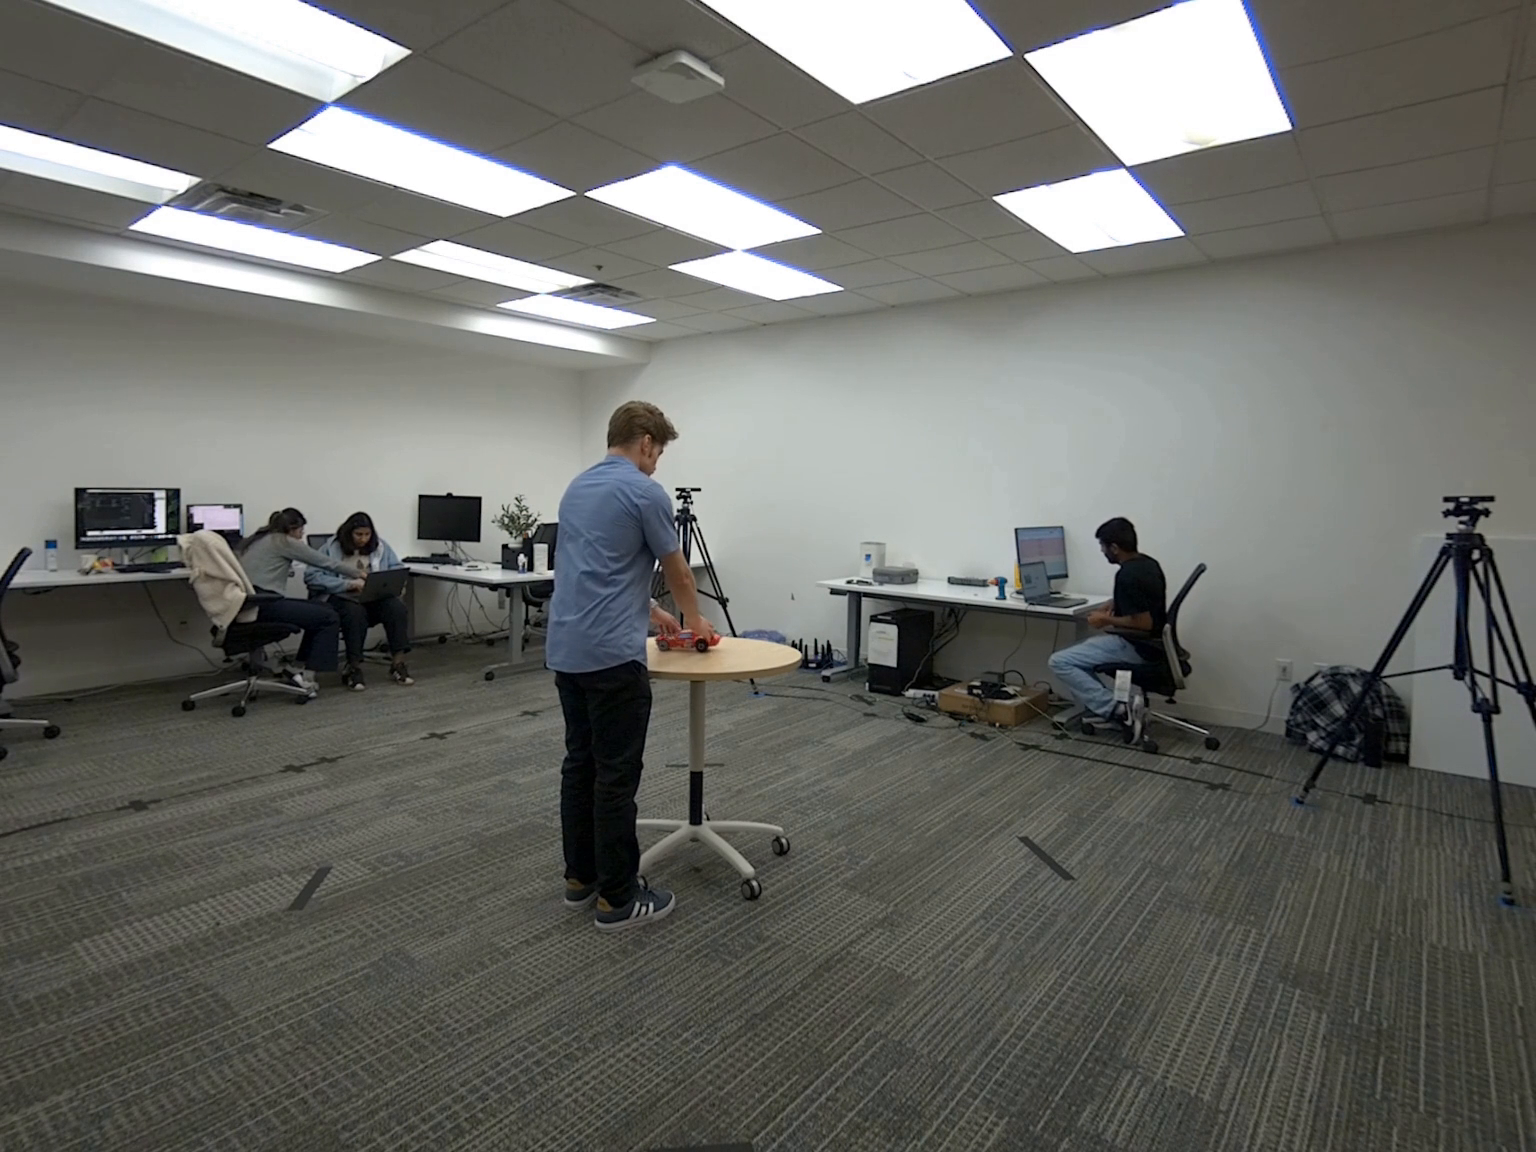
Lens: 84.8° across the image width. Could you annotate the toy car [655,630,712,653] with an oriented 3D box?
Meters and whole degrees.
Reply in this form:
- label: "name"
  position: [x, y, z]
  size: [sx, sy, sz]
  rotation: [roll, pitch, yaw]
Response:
- label: "toy car"
  position: [-0.300, 0.246, 3.202]
  size: [0.256, 0.083, 0.130]
  rotation: [-10, 3, 5]
